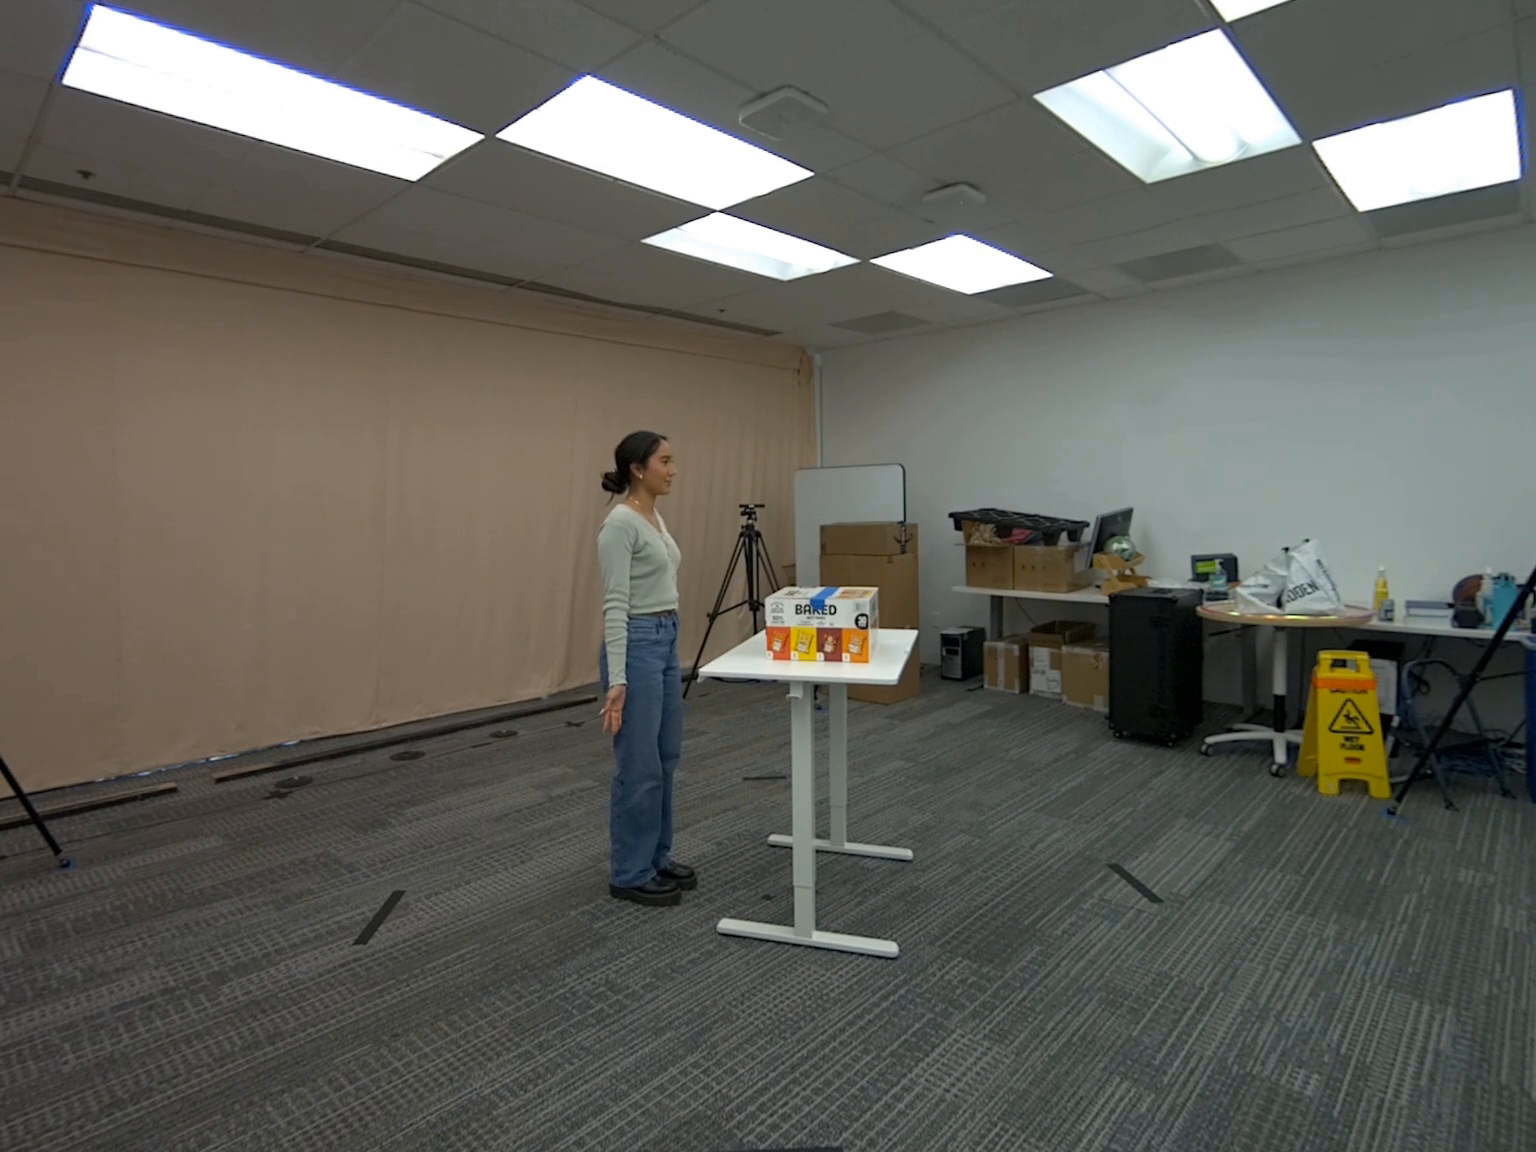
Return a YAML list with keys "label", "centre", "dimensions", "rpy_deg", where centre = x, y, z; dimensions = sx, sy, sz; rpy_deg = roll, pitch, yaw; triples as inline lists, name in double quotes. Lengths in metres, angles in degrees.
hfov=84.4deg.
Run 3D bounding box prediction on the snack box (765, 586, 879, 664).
- label: "snack box"
  centre: [0.200, 0.159, 2.904]
  dimensions: [0.346, 0.205, 0.400]
  rpy_deg: [0, 4, 14]
